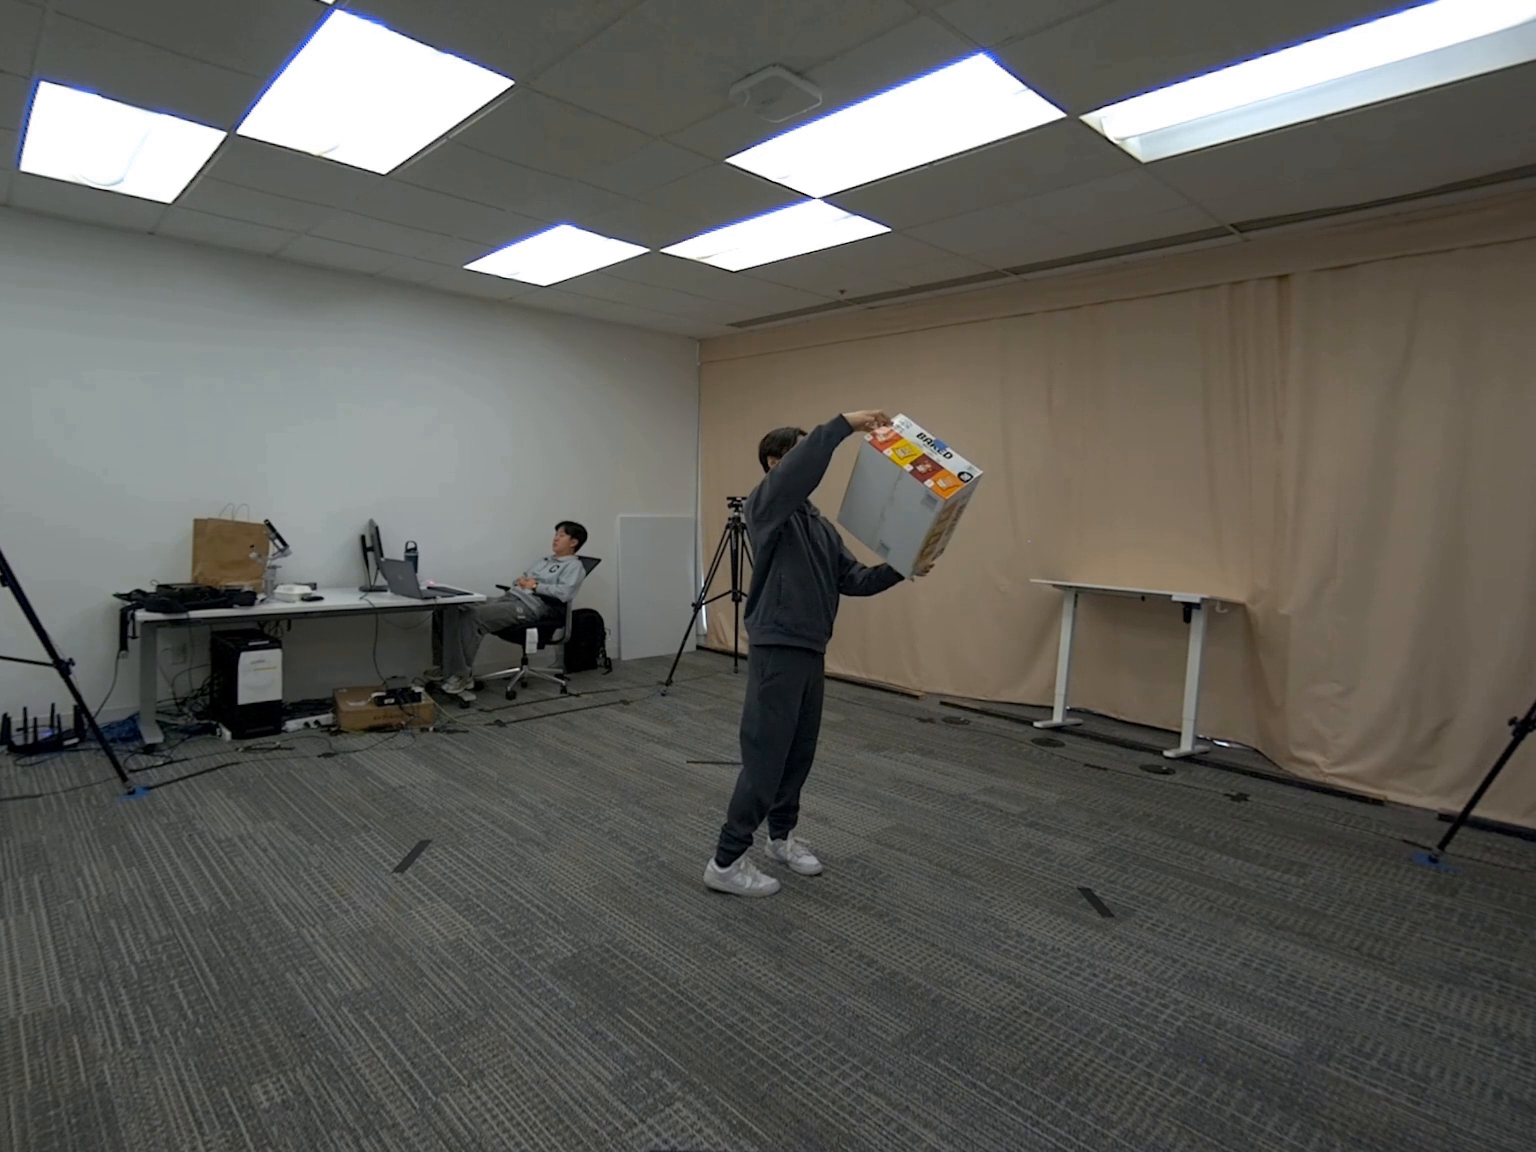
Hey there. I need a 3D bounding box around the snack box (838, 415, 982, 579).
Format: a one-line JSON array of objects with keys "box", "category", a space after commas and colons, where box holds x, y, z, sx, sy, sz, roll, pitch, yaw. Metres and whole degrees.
[{"box": [0.449, -0.259, 2.800, 0.204, 0.398, 0.348, -33, 63, -32], "category": "snack box"}]
